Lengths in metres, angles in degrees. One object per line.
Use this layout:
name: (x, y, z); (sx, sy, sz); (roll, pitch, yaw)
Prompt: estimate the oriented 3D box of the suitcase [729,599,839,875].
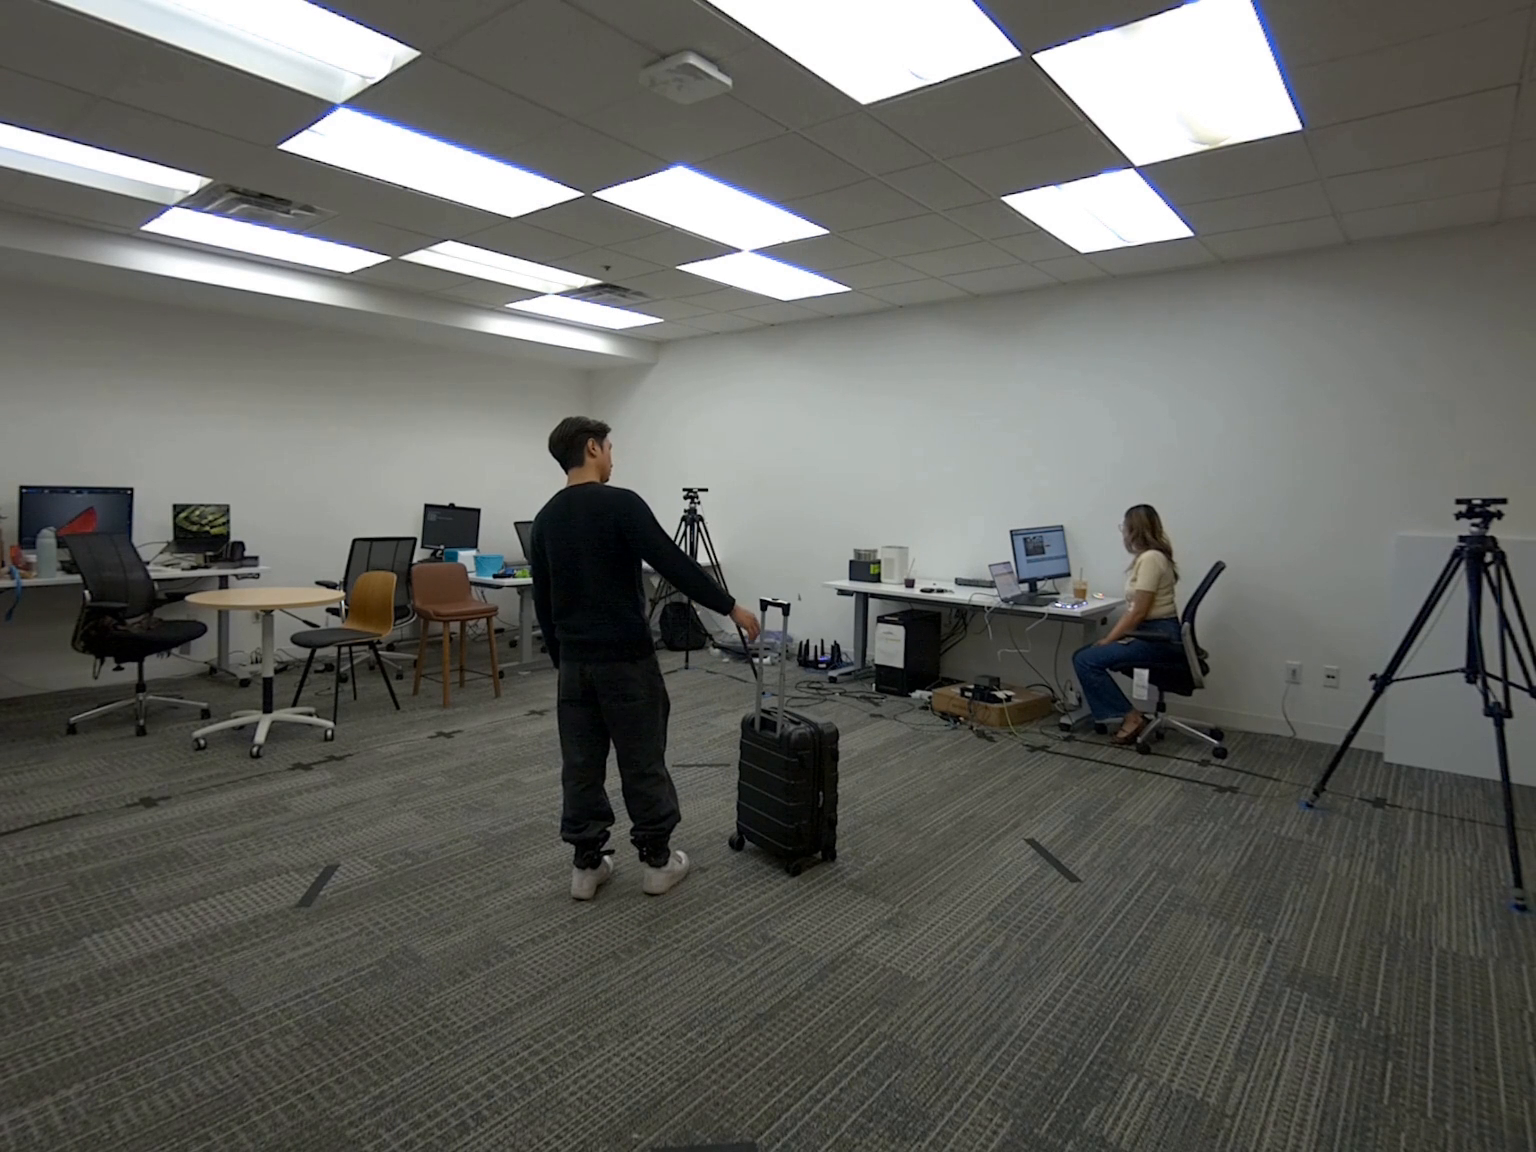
suitcase: (0.076, 0.585, 3.241); (0.249, 0.977, 0.397); (2, 3, -38)
